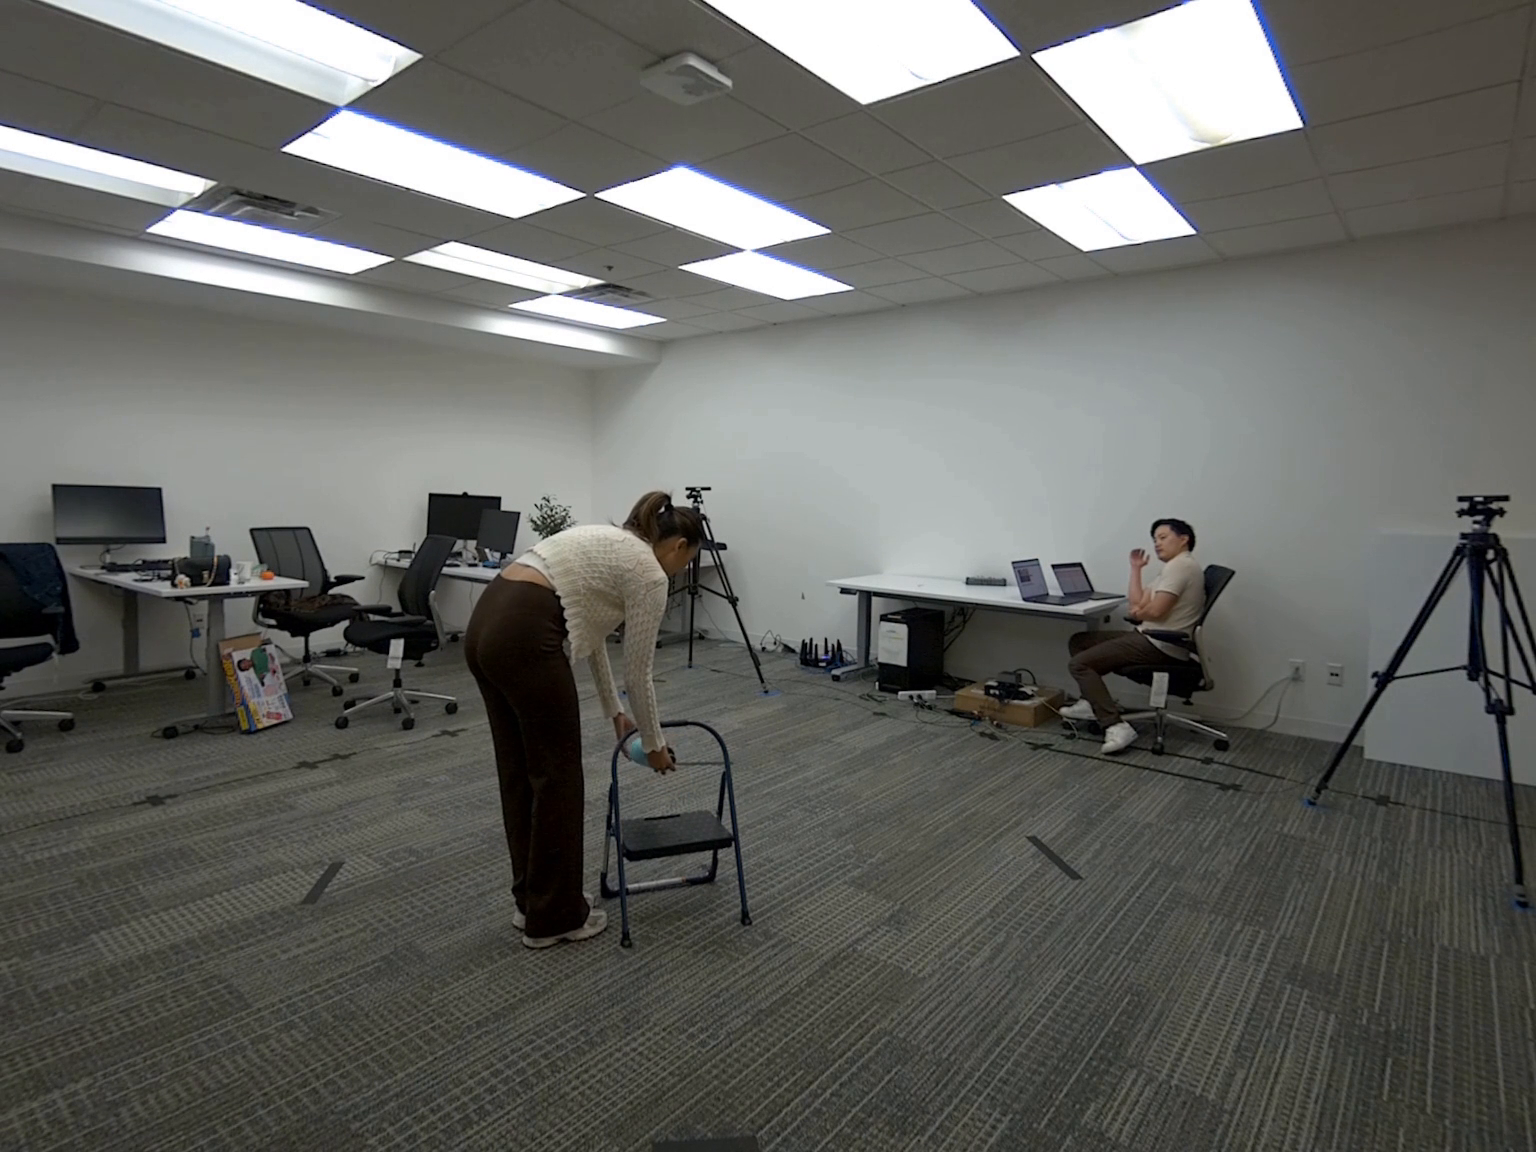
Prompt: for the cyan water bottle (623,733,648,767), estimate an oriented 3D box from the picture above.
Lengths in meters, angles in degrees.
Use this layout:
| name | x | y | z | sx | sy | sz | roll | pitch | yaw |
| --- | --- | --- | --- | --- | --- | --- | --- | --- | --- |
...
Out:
| name | x | y | z | sx | sy | sz | roll | pitch | yaw |
| --- | --- | --- | --- | --- | --- | --- | --- | --- | --- |
| cyan water bottle | -0.409 | 0.604 | 2.924 | 0.090 | 0.093 | 0.287 | 0 | -4 | -20 |
